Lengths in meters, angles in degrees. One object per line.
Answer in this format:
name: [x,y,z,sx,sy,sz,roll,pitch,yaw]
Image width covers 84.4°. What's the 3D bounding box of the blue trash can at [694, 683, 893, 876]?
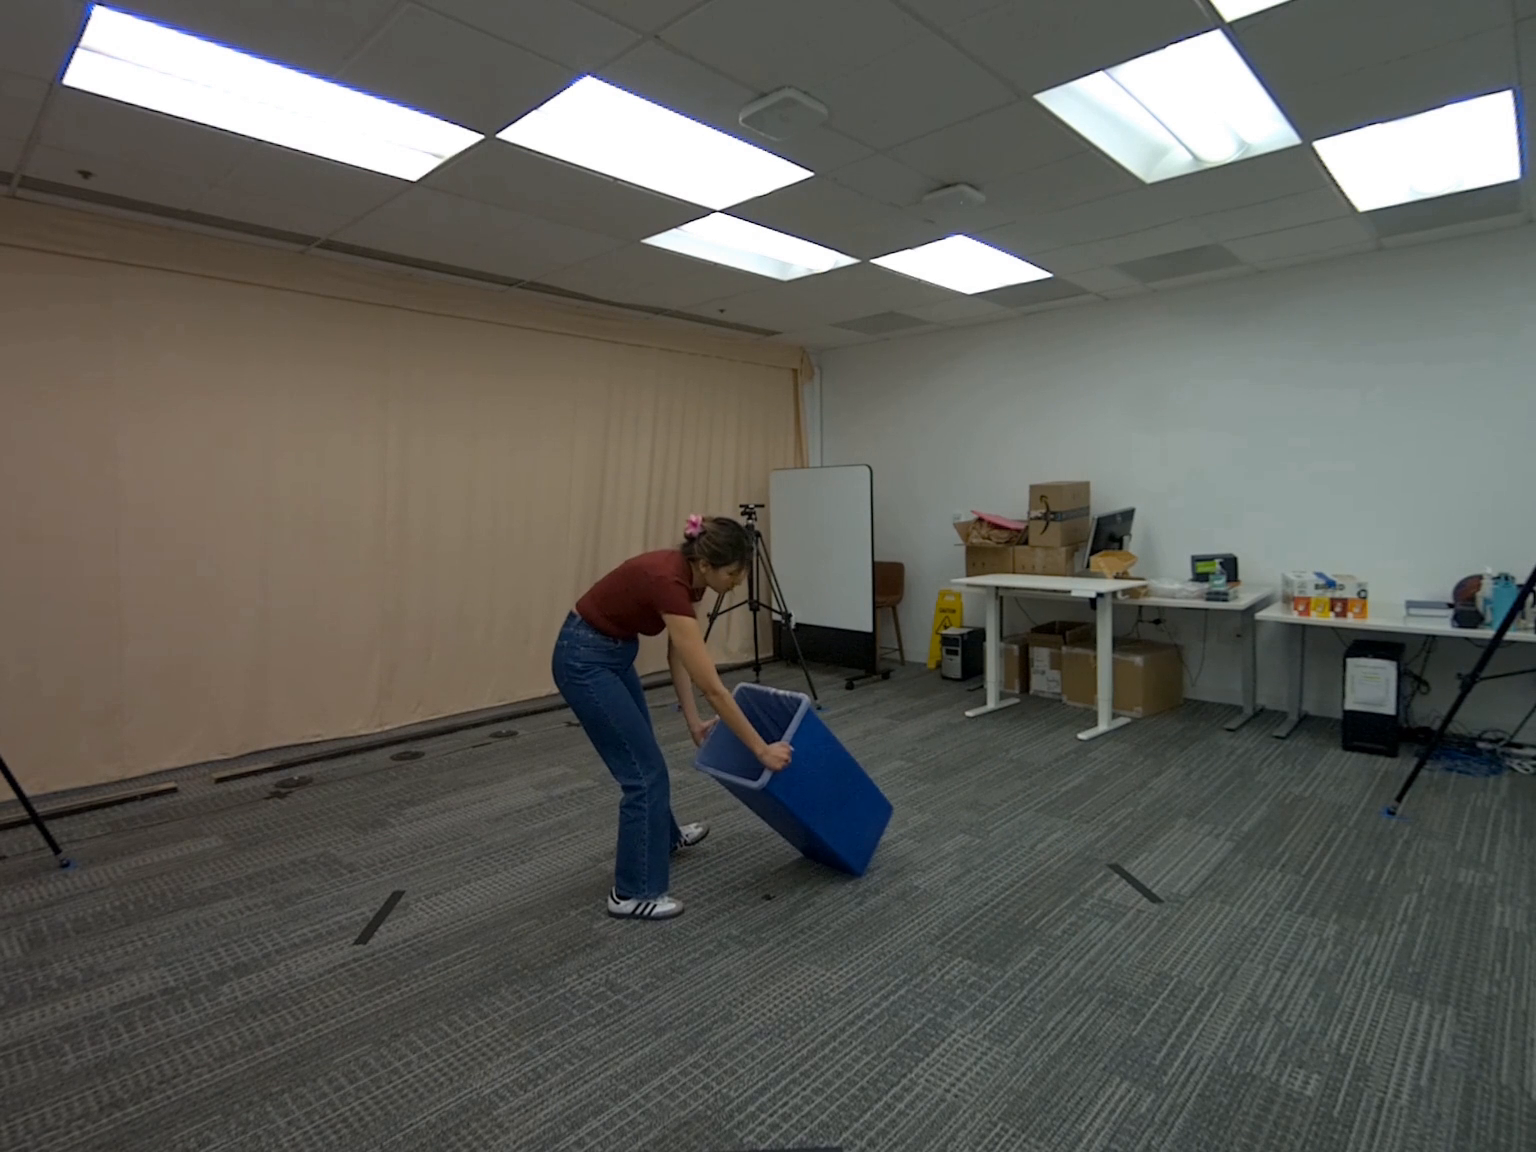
blue trash can: [0.116,0.773,3.097,0.390,0.373,0.693,0,-42,49]
